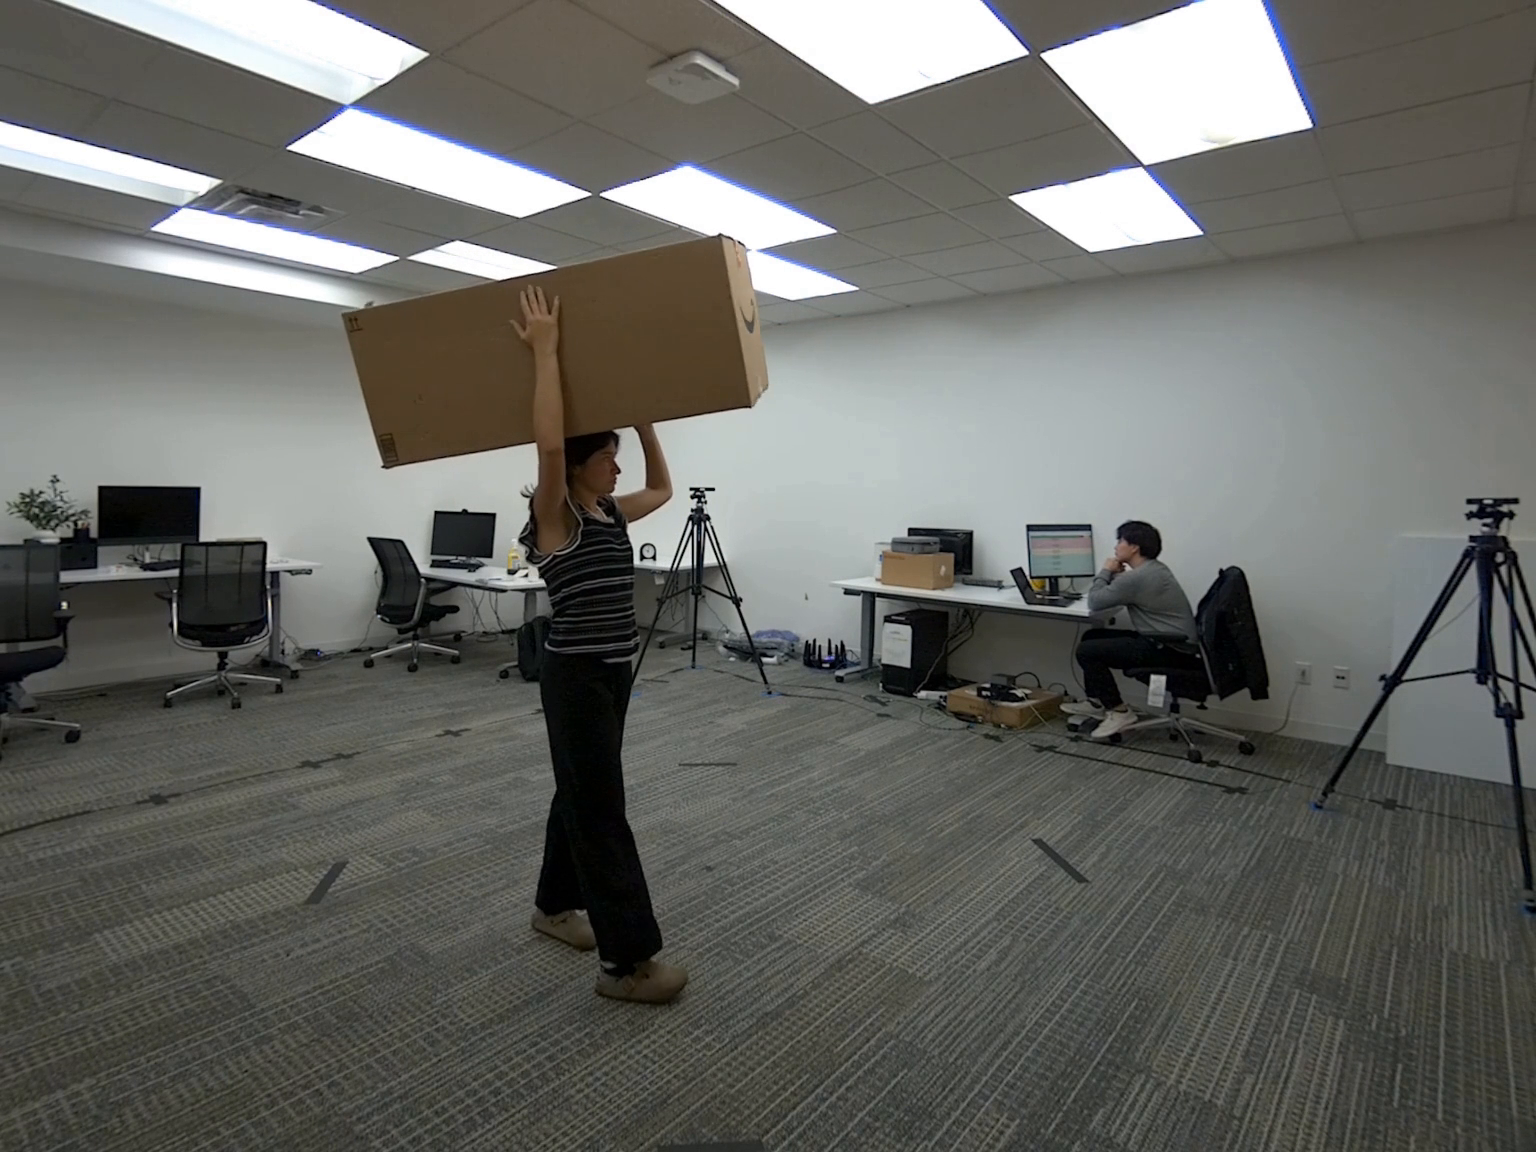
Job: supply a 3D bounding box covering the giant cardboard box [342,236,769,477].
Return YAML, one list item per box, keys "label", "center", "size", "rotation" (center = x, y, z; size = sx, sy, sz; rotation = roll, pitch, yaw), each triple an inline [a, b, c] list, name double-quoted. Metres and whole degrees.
- label: "giant cardboard box"
  center: [-0.561, -0.647, 2.427]
  size: [1.036, 0.419, 0.581]
  rotation: [-8, 15, 10]
